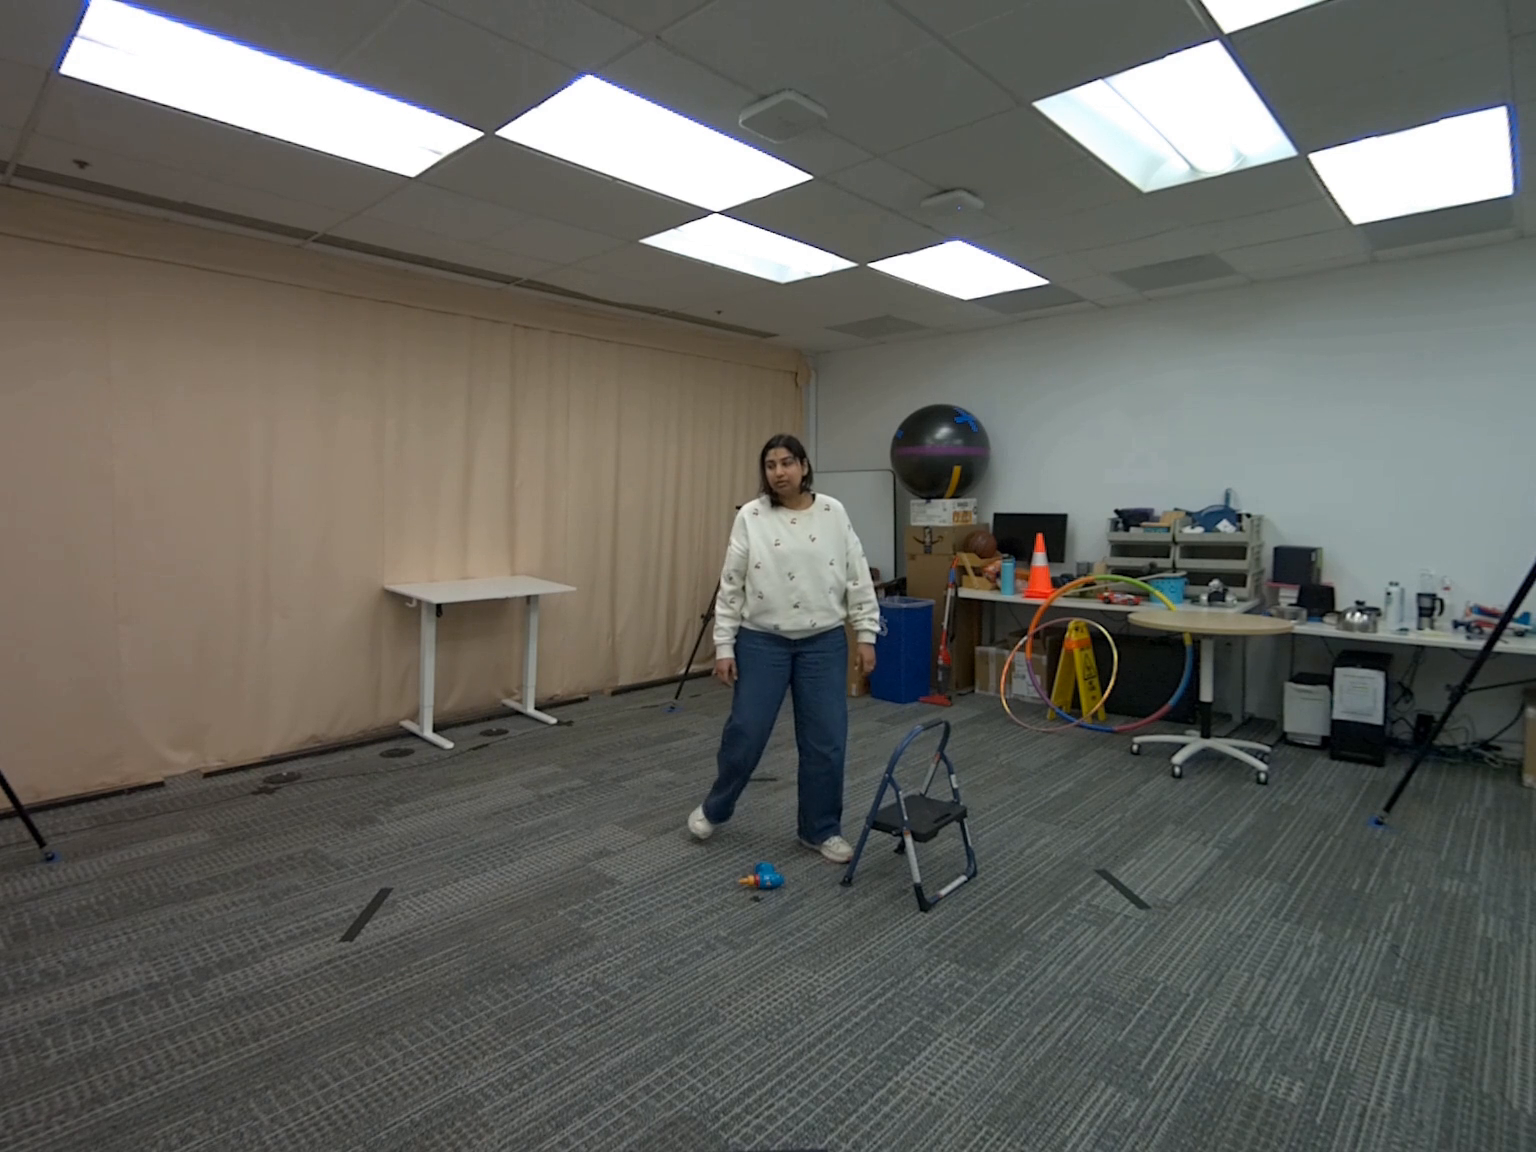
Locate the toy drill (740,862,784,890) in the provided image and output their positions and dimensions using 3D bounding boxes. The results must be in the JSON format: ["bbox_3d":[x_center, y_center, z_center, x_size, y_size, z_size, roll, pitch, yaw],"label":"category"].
[{"bbox_3d":[-0.026,1.112,3.111,0.168,0.061,0.148,0,4,-13],"label":"toy drill"}]
